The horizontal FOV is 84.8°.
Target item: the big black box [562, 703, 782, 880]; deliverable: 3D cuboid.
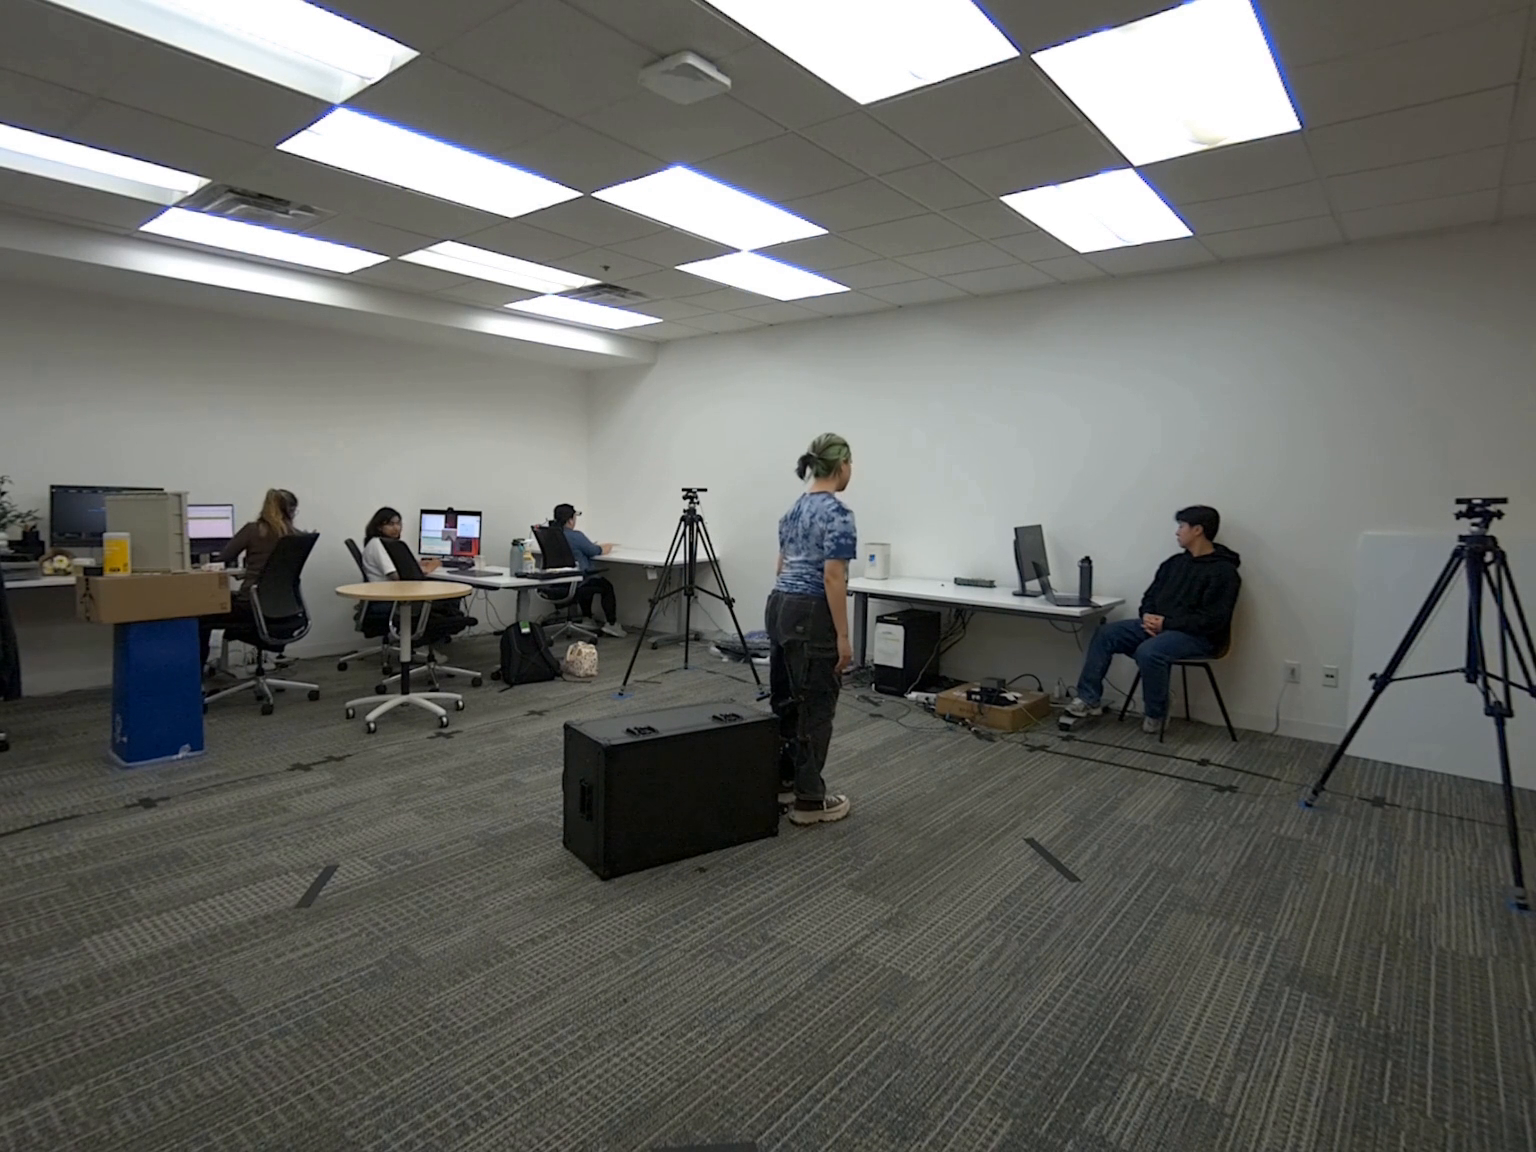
[{"bbox_3d":[-0.366,0.799,3.368,0.837,0.520,0.409,-1,4,-34],"label":"big black box"}]
